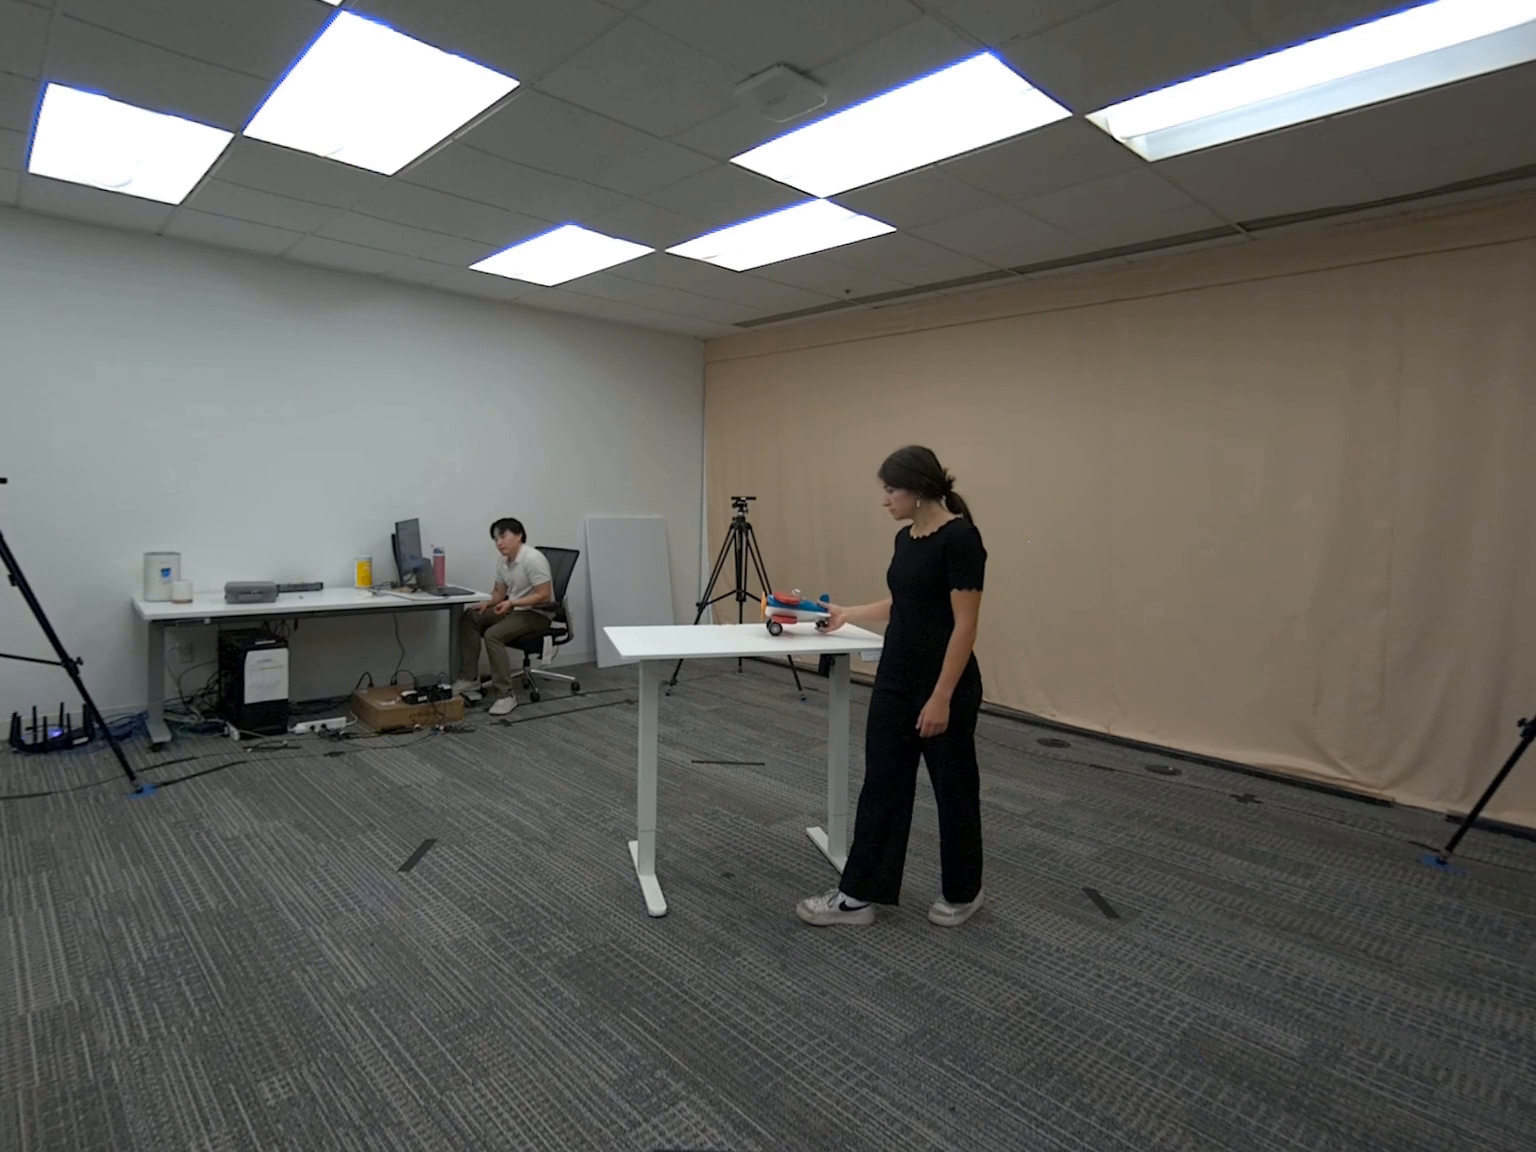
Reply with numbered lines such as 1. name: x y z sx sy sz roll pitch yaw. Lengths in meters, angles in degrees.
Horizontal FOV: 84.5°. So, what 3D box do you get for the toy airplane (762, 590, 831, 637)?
1. toy airplane: 0.096 0.136 3.192 0.254 0.156 0.256 -8 6 -31
